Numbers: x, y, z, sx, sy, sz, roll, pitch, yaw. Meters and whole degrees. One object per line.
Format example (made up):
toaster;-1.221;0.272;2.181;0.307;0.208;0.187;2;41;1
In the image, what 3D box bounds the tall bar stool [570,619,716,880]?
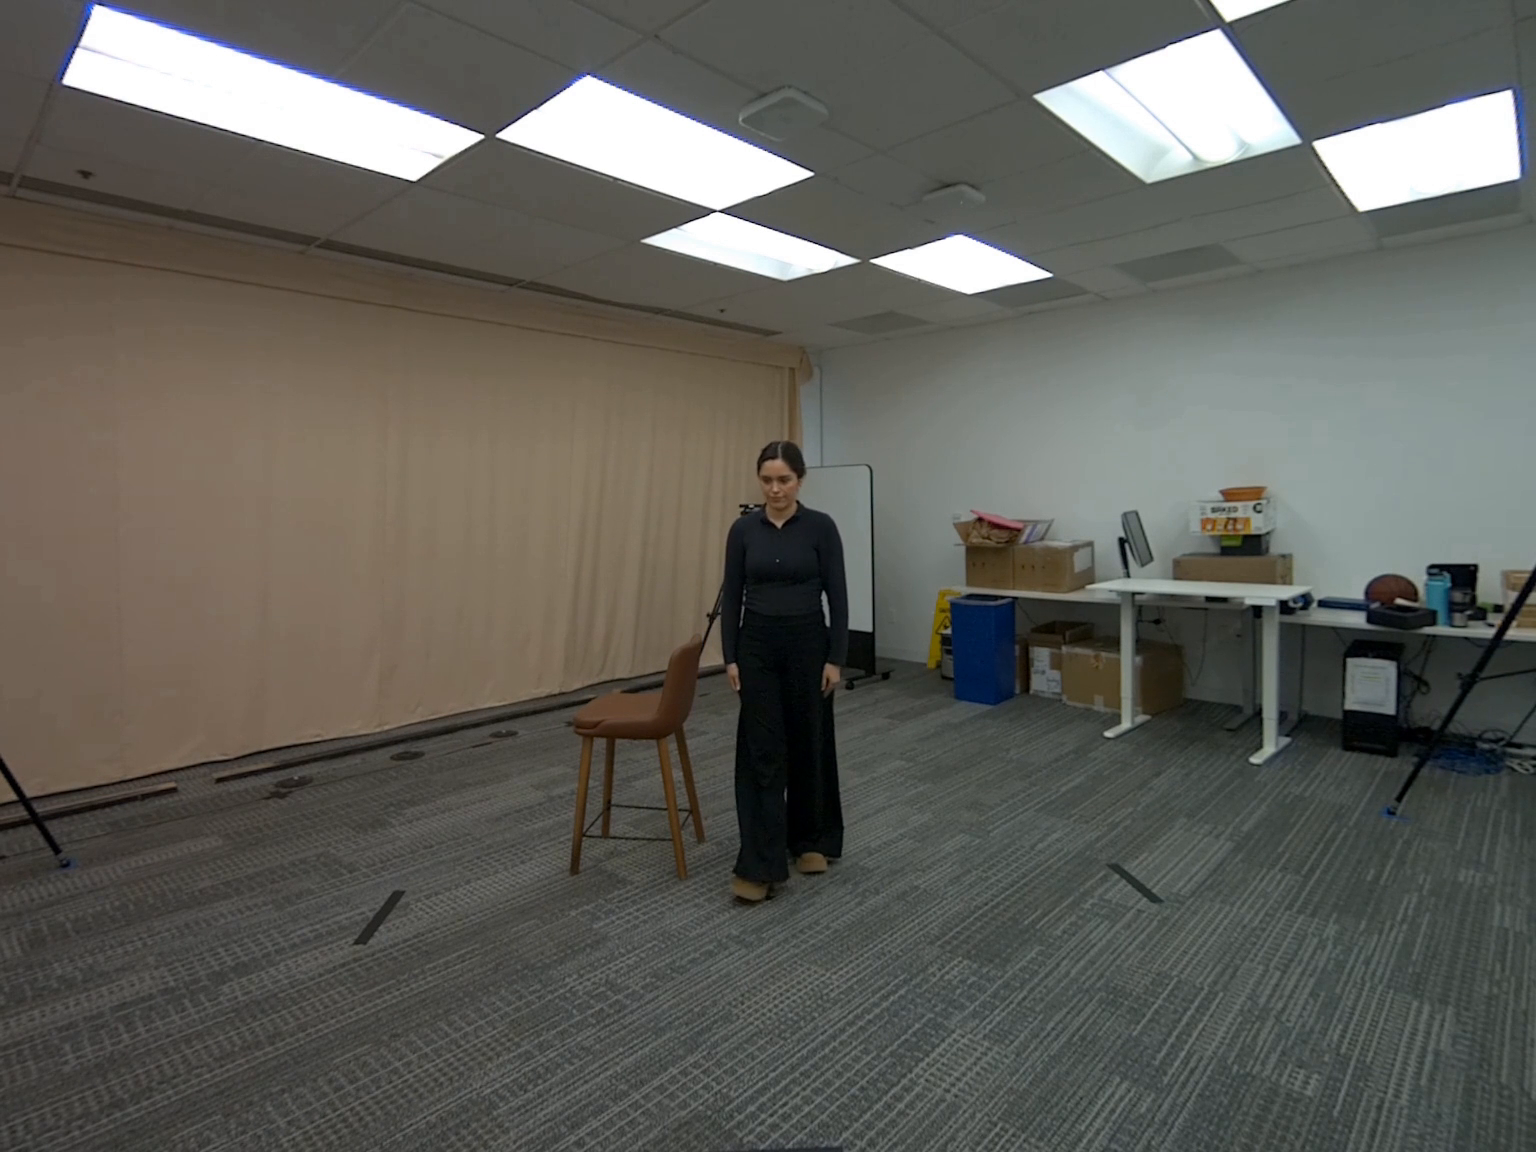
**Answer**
tall bar stool;-0.509;0.686;3.339;0.473;0.888;0.452;1;4;9
